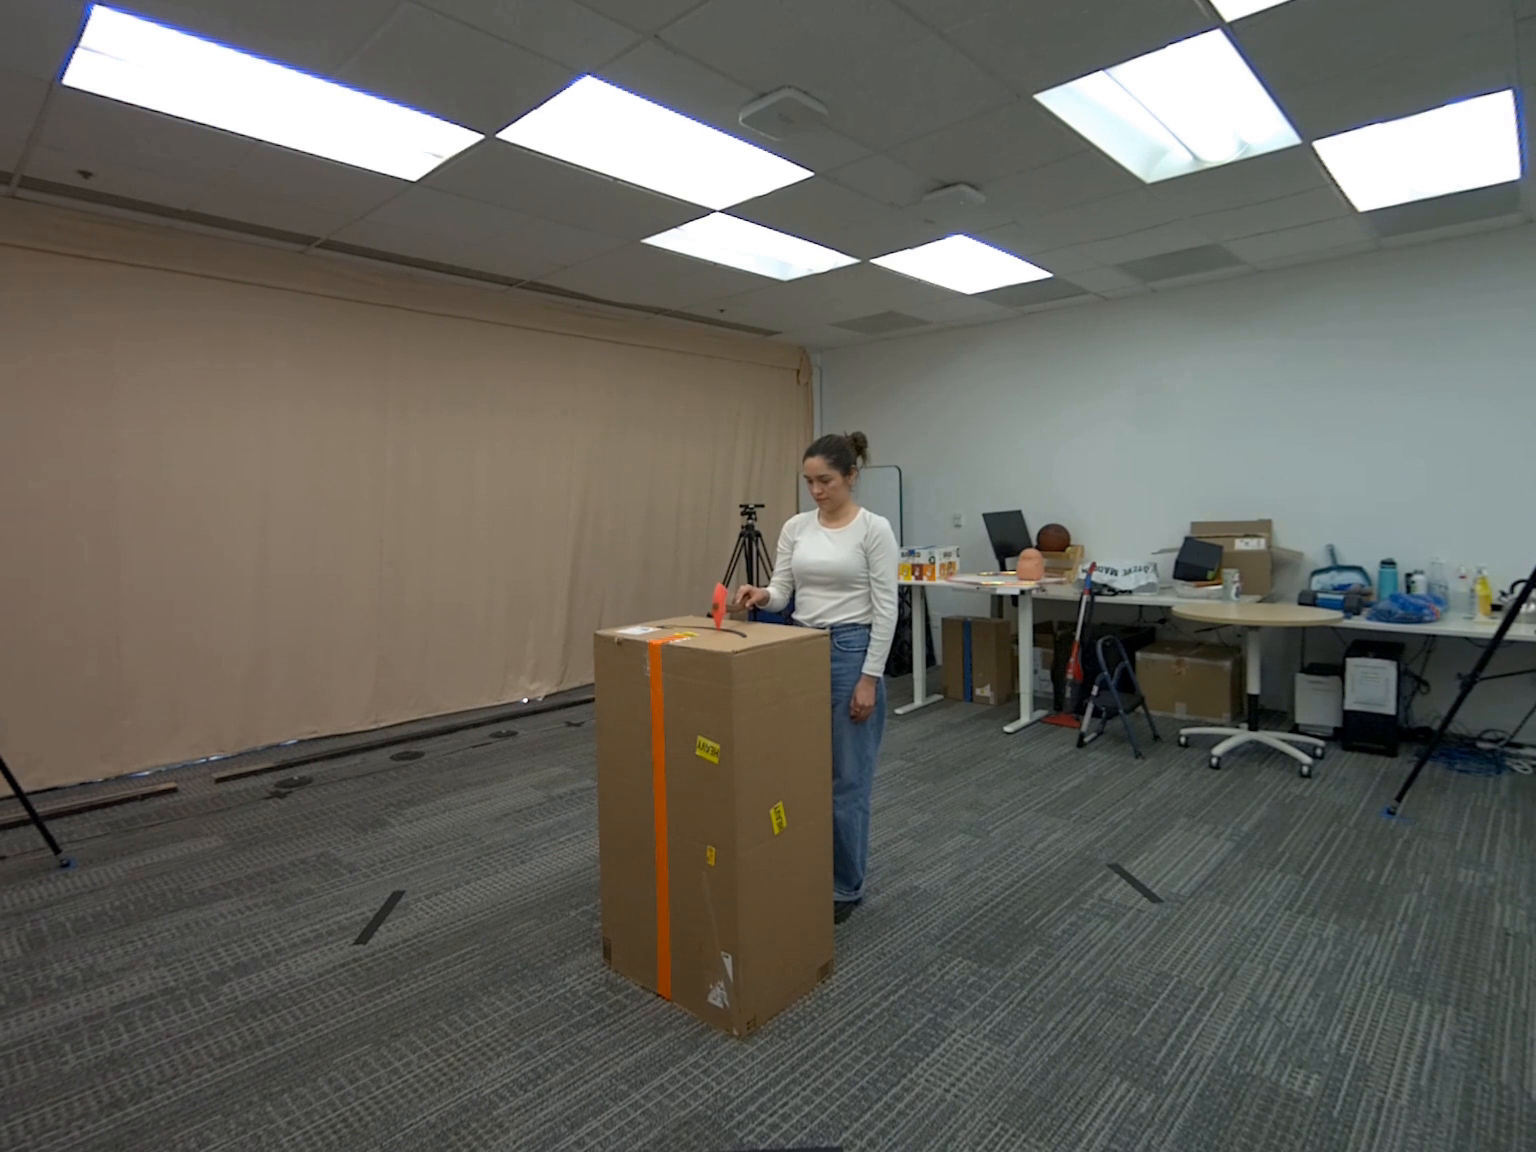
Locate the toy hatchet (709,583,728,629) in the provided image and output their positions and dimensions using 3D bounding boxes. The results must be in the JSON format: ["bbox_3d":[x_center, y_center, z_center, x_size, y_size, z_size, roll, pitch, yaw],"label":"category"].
[{"bbox_3d":[-0.108,0.065,2.557,0.030,0.130,0.267,-5,10,19],"label":"toy hatchet"}]
